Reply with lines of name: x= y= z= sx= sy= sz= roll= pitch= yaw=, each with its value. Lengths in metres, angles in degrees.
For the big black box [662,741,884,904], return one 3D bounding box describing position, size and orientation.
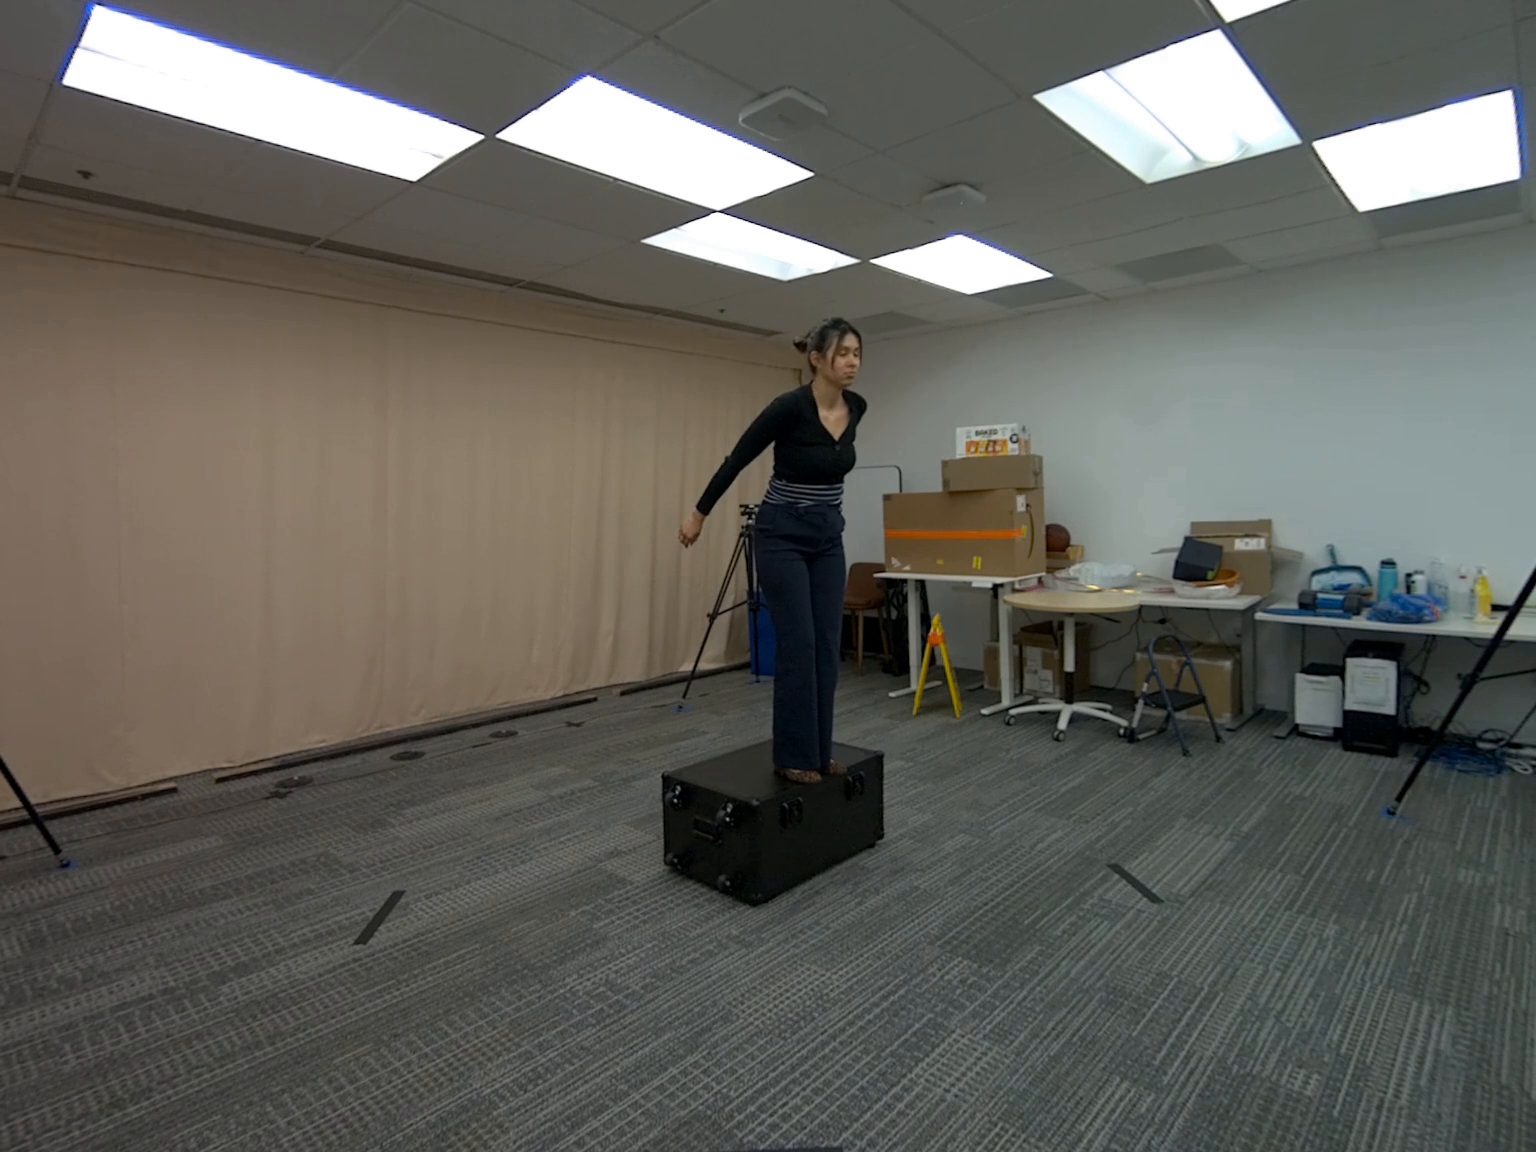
big black box: x=0.059 y=0.917 z=3.333 sx=0.539 sy=0.395 sz=0.836 roll=4 pitch=7 yaw=43
